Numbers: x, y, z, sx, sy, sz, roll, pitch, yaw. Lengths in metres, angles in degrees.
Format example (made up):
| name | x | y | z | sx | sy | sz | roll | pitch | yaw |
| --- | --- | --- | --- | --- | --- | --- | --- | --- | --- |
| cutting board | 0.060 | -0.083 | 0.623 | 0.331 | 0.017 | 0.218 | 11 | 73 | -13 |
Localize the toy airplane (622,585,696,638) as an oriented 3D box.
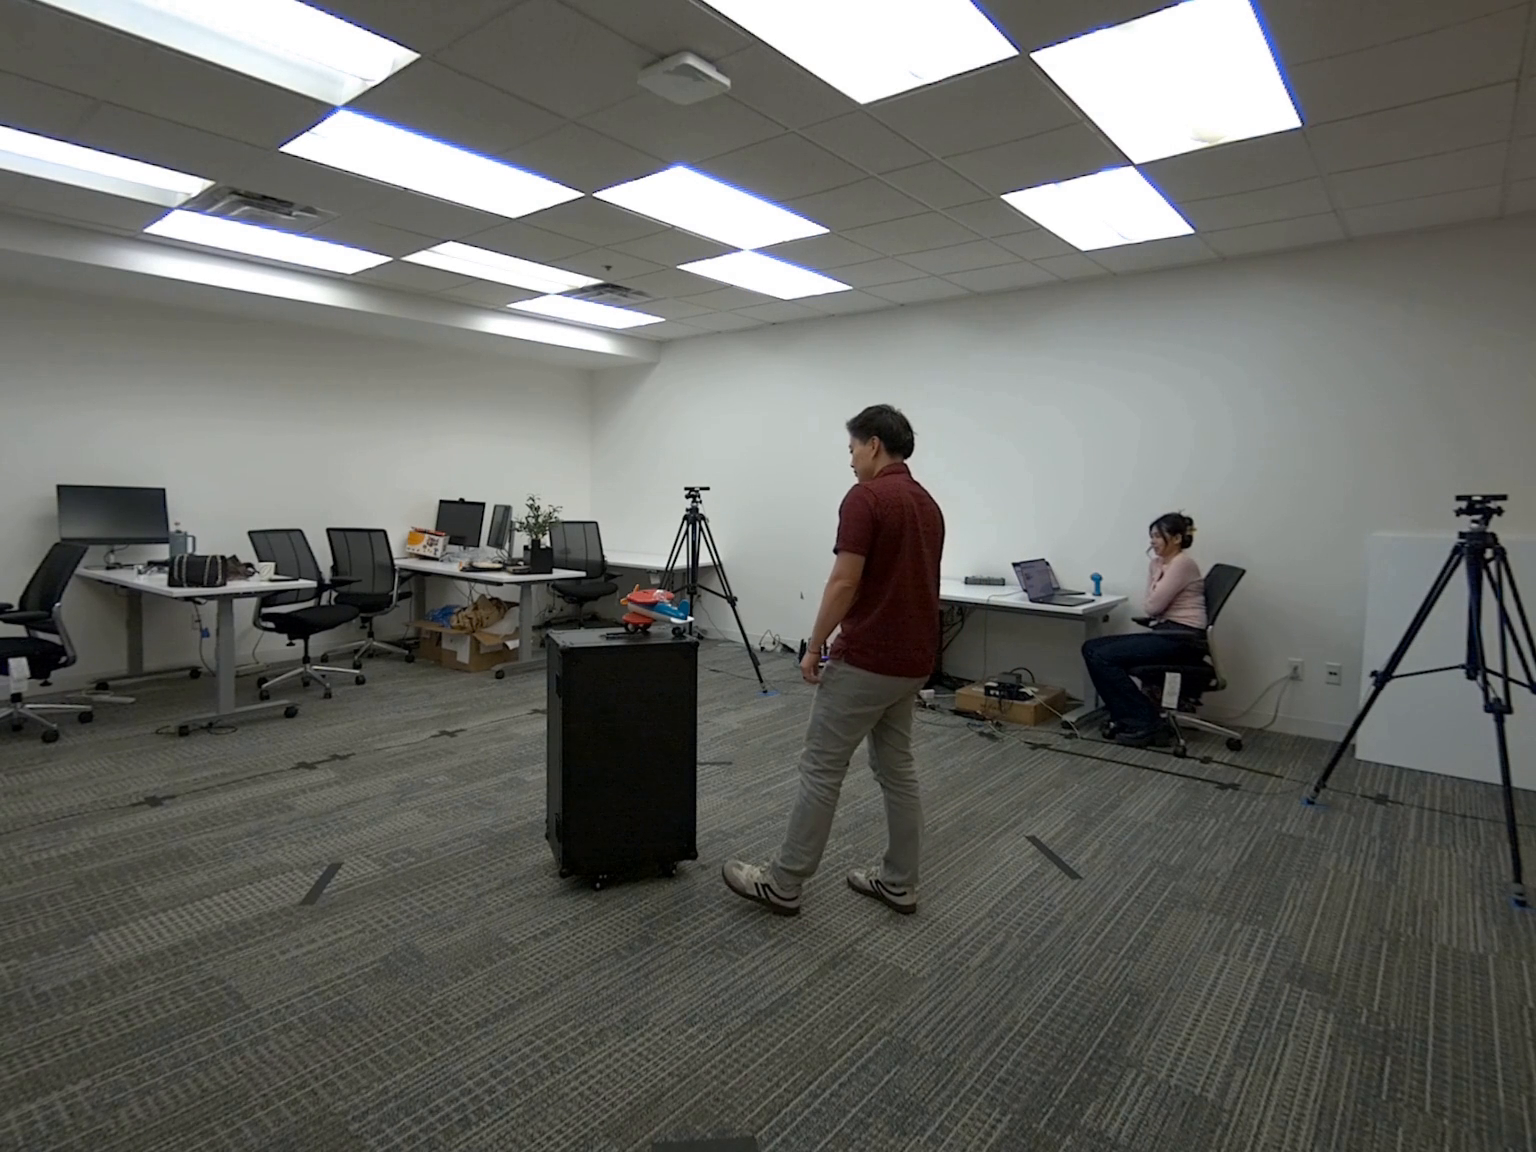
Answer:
| name | x | y | z | sx | sy | sz | roll | pitch | yaw |
| --- | --- | --- | --- | --- | --- | --- | --- | --- | --- |
| toy airplane | -0.404 | 0.129 | 3.149 | 0.259 | 0.156 | 0.253 | 0 | 5 | -3 |
